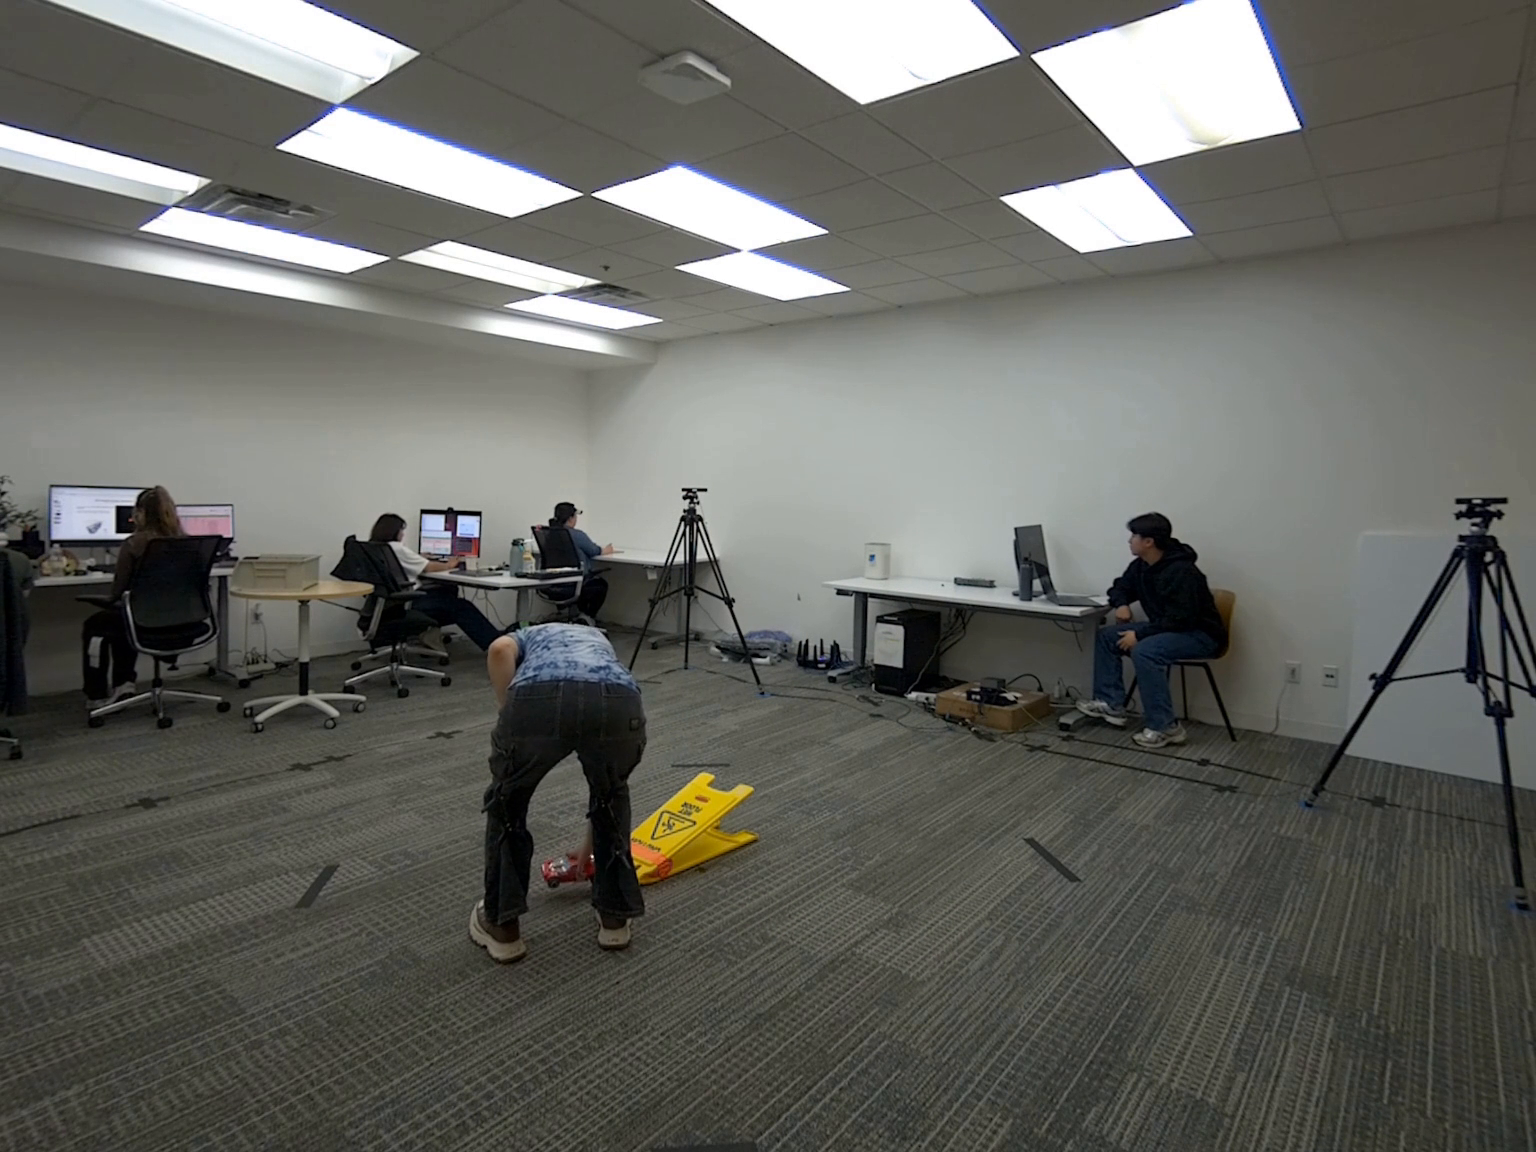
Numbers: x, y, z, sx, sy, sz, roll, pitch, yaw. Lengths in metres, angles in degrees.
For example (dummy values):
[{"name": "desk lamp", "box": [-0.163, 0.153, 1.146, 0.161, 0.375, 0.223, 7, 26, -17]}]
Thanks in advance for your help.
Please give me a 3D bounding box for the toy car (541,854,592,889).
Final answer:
[{"name": "toy car", "box": [-0.660, 1.007, 2.906, 0.250, 0.082, 0.134, -6, 12, -18]}]
